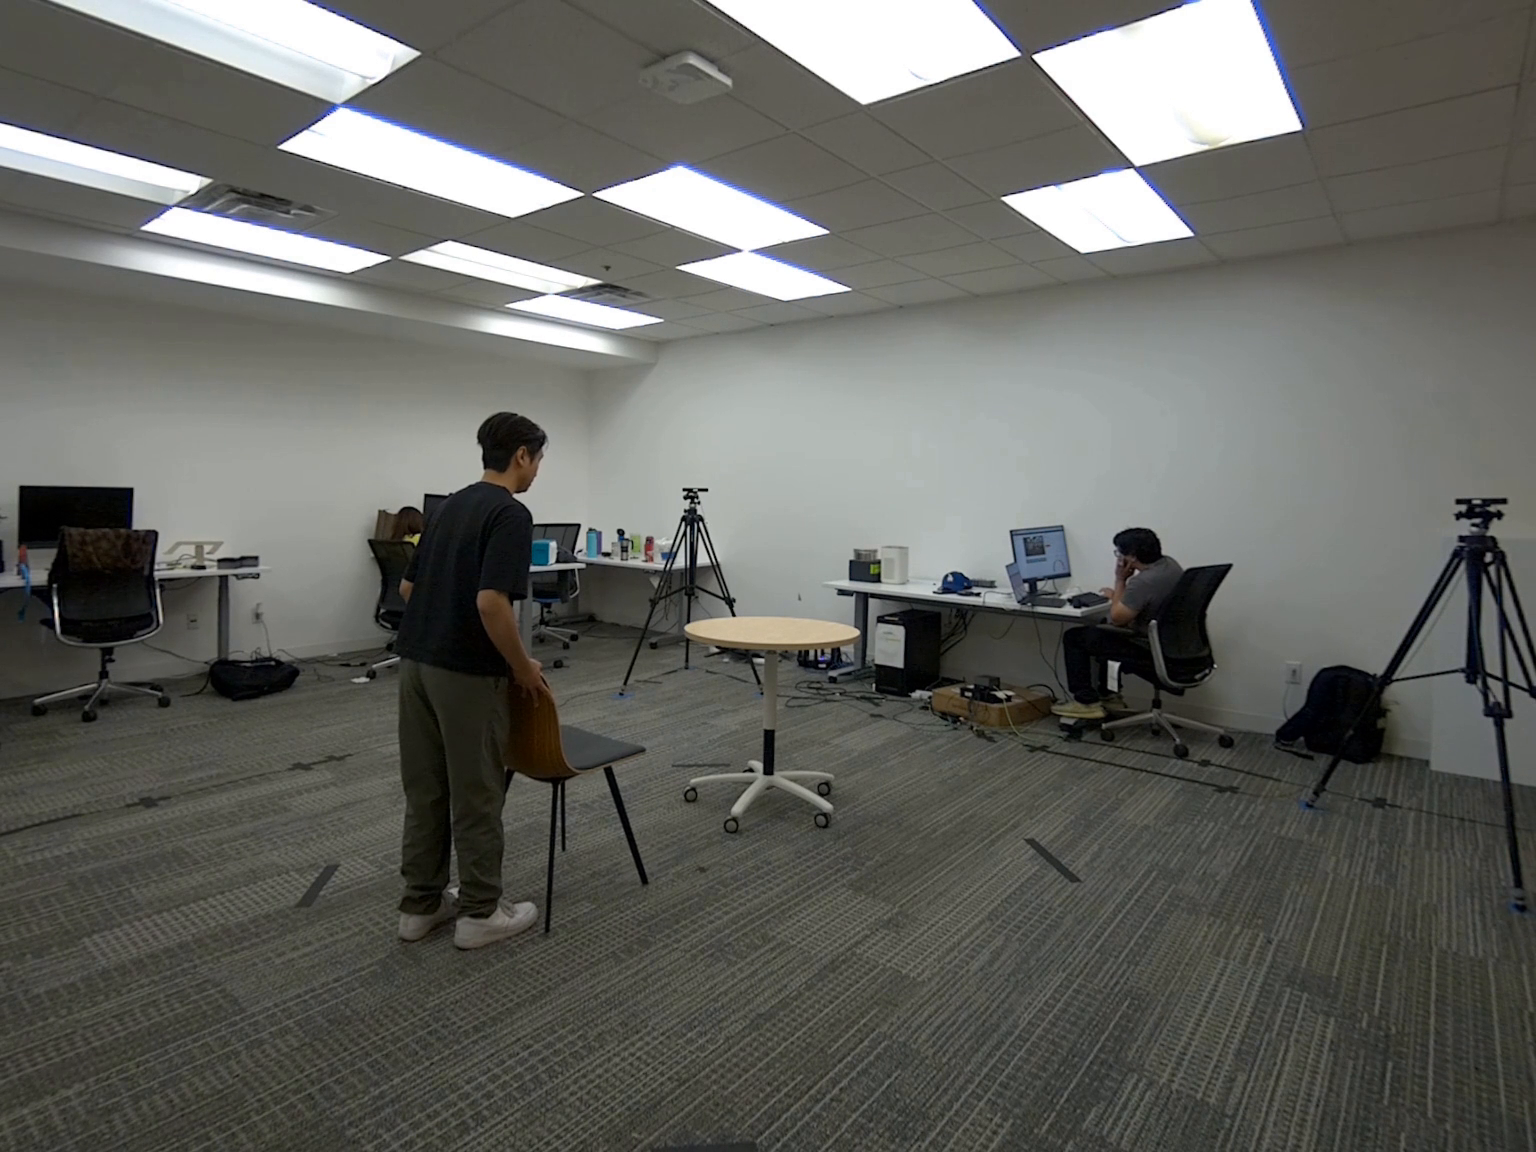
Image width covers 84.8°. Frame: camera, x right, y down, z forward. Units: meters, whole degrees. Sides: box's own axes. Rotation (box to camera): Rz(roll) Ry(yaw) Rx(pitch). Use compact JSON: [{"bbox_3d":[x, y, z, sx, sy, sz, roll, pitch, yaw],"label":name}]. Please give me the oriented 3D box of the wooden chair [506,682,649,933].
[{"bbox_3d":[-0.729,0.649,2.931,0.493,0.872,0.510,3,8,37],"label":"wooden chair"}]
